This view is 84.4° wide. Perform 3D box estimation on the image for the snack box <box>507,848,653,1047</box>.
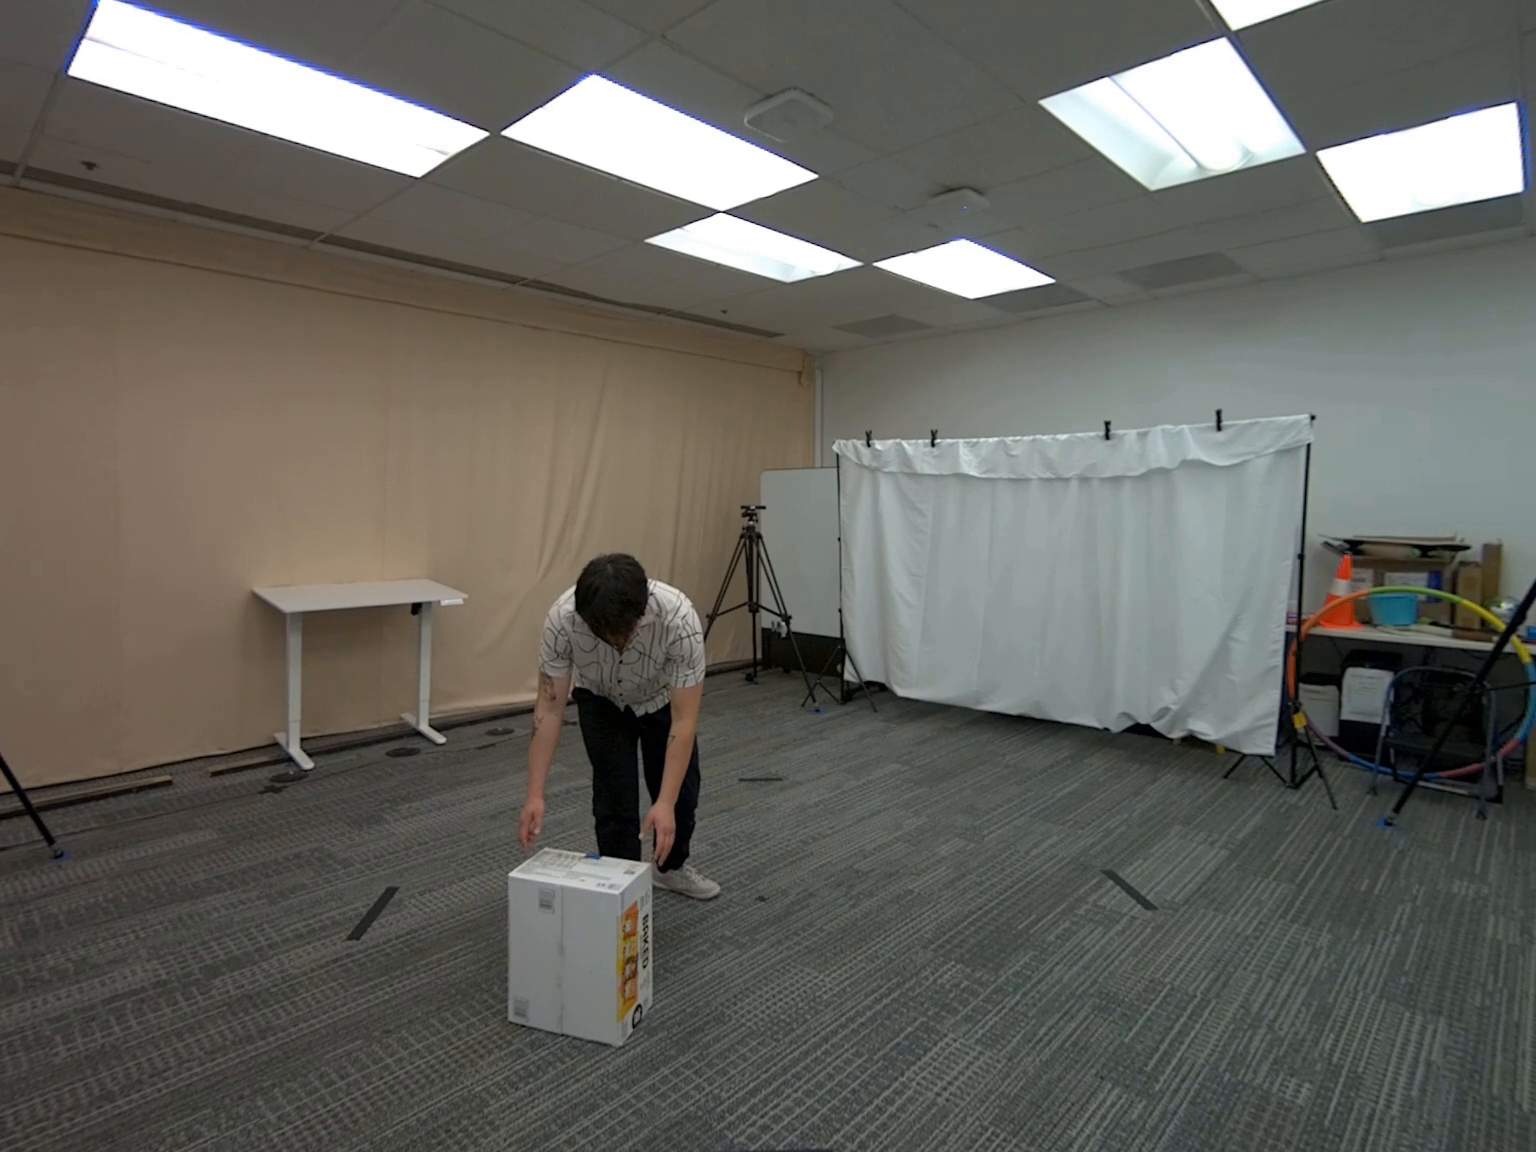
[{"bbox_3d":[-0.513,0.997,2.303,0.347,0.404,0.202,1,3,18],"label":"snack box"}]
